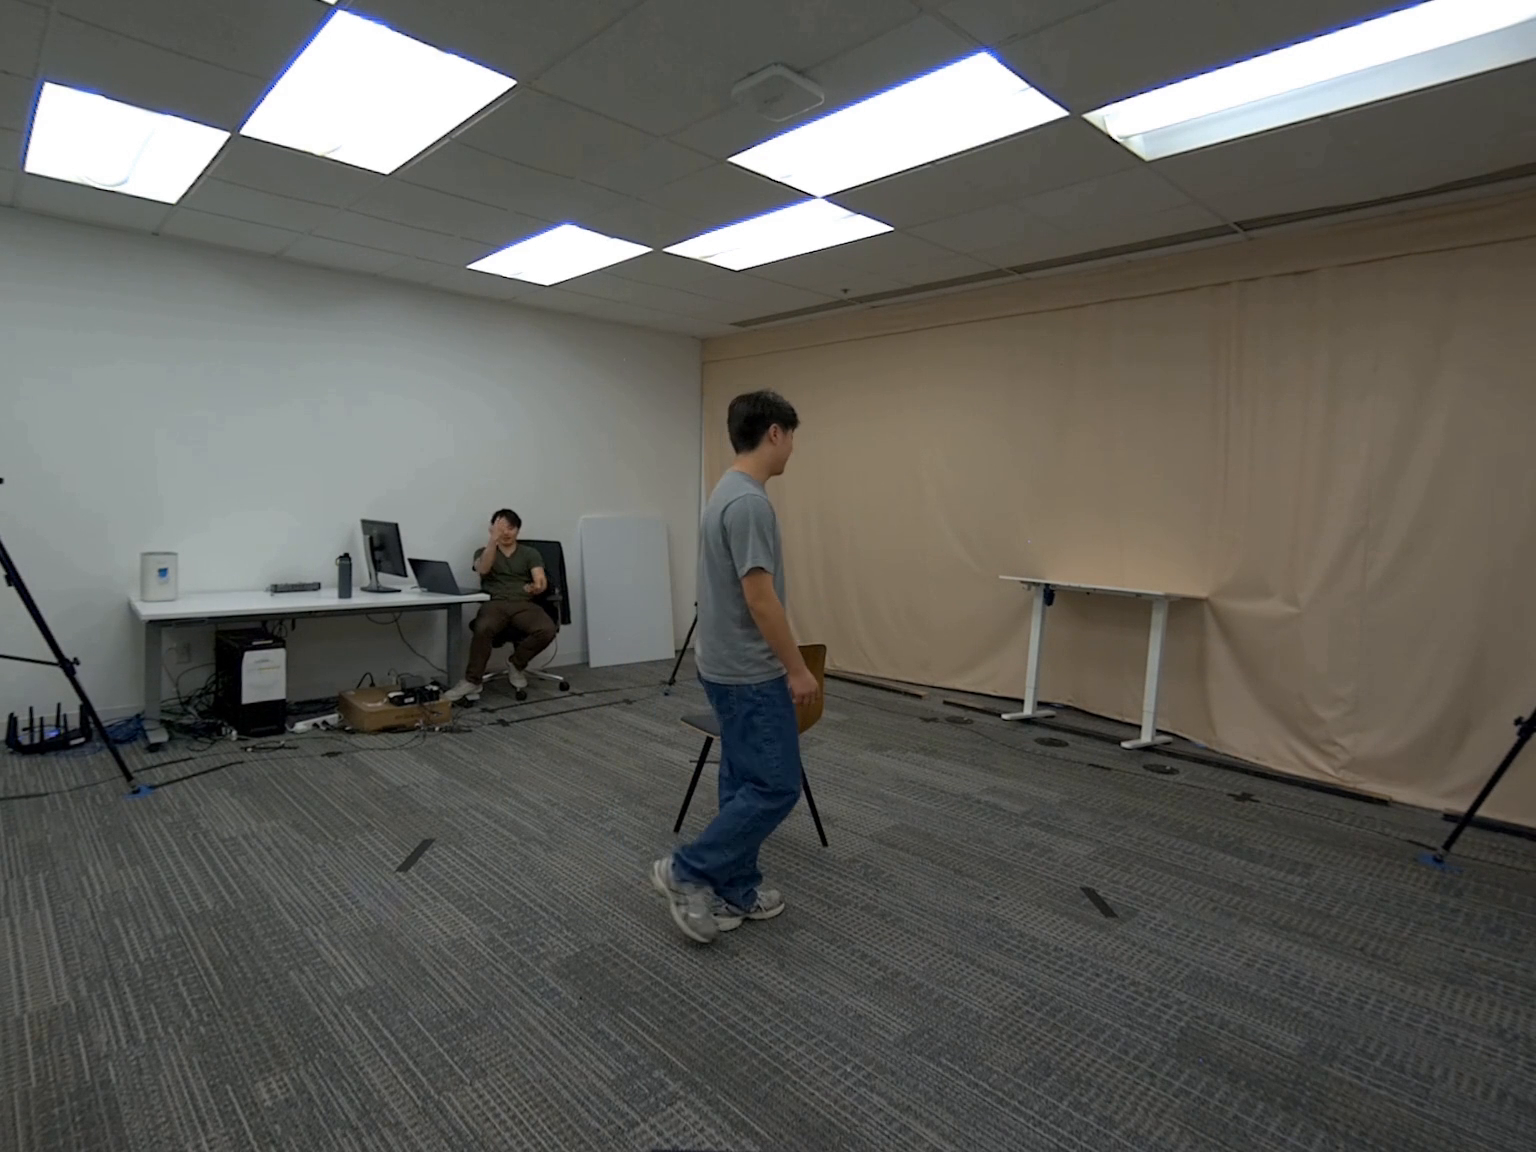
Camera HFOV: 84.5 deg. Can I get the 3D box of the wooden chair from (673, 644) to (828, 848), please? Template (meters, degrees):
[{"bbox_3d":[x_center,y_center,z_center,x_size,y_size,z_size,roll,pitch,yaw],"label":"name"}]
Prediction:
[{"bbox_3d":[-0.072,0.653,3.419,0.467,0.873,0.537,-1,8,-37],"label":"wooden chair"}]
